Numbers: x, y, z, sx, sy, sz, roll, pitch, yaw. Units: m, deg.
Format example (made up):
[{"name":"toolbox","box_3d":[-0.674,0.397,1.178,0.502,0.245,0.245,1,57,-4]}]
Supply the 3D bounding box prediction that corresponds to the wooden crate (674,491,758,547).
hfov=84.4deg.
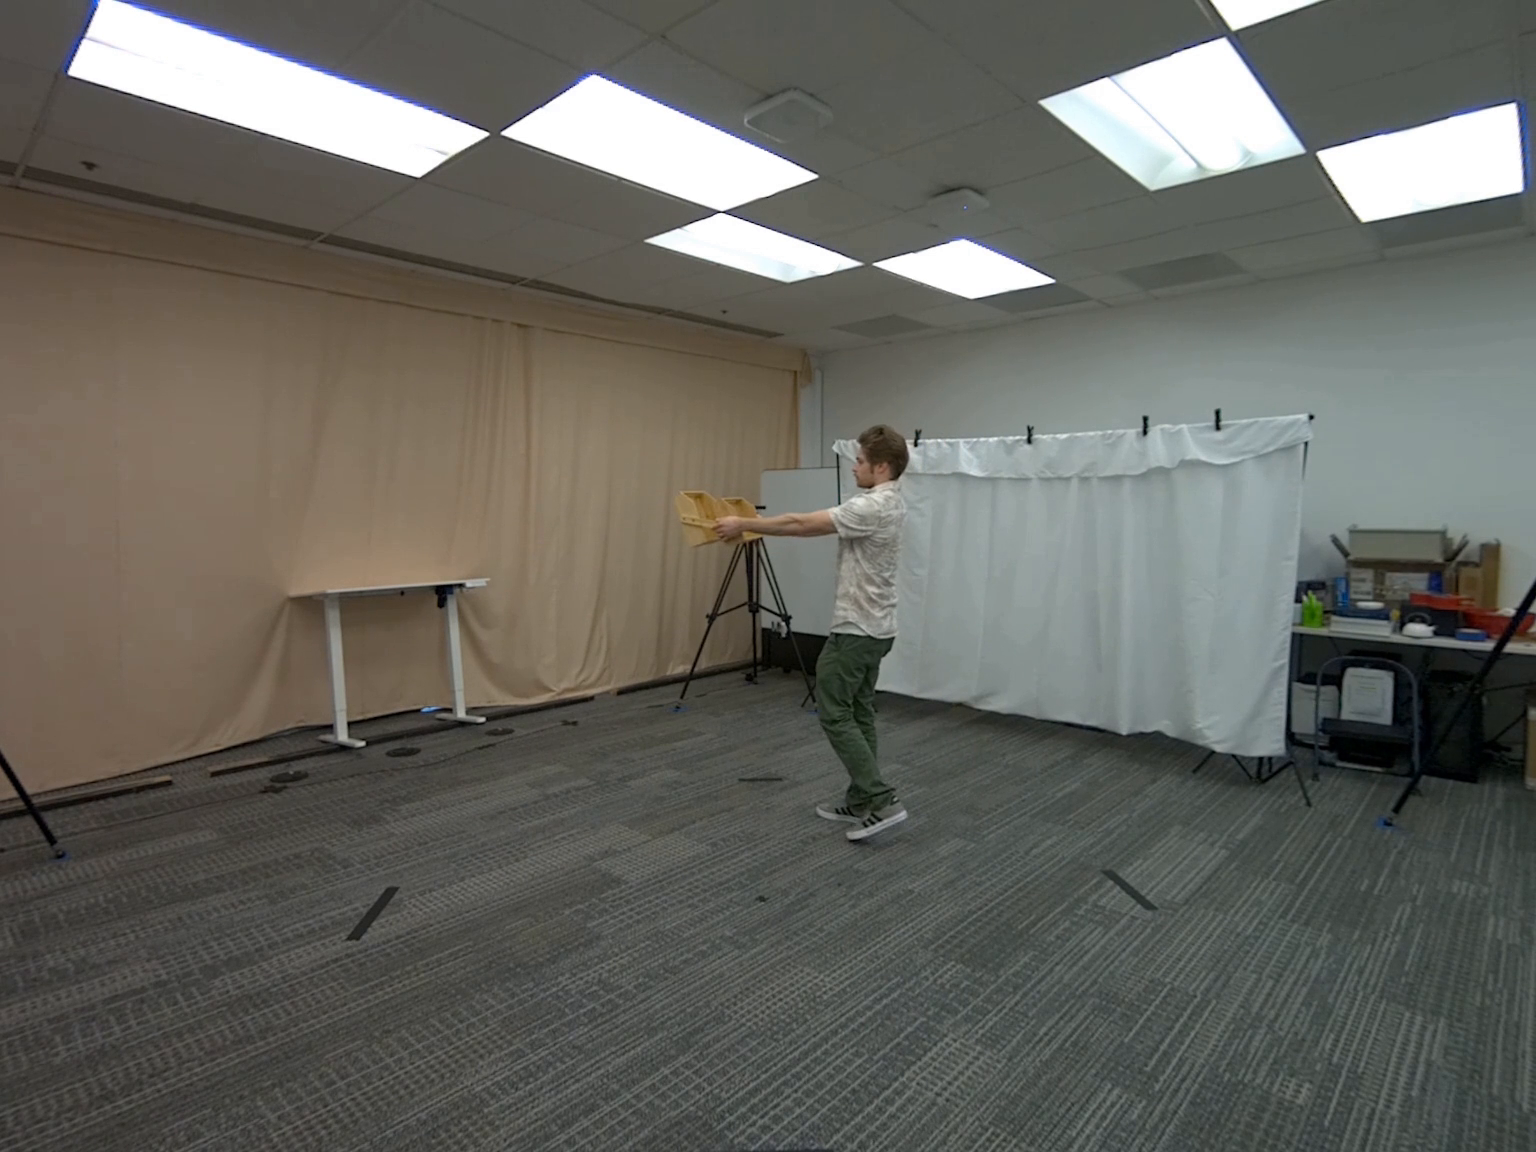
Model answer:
[{"name":"wooden crate","box_3d":[-0.219,-0.273,3.843,0.277,0.302,0.319,-19,0,18]}]
